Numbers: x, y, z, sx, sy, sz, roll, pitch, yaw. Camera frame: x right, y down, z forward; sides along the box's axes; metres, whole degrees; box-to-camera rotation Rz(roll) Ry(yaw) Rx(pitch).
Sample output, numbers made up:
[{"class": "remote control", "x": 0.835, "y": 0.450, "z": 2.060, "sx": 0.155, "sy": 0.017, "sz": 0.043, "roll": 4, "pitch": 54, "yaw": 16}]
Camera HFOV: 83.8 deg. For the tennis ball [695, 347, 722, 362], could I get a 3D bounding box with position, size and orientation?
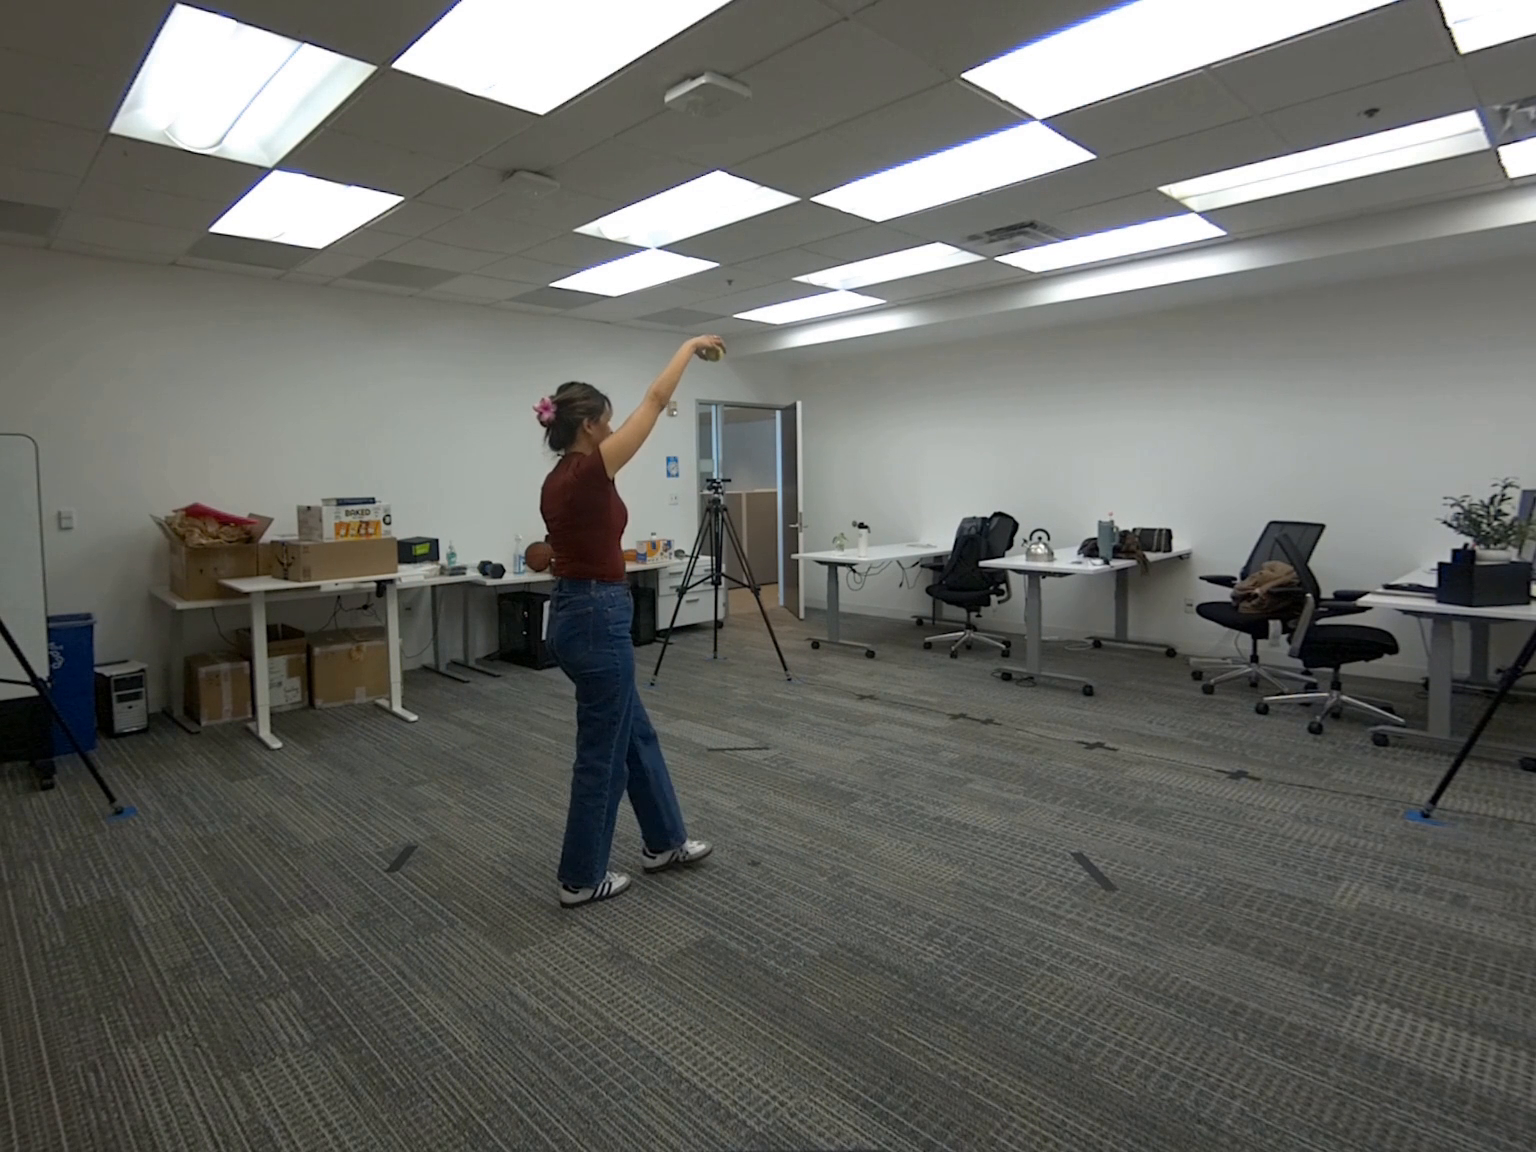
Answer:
[{"class": "tennis ball", "x": -0.223, "y": -0.796, "z": 2.946, "sx": 0.066, "sy": 0.066, "sz": 0.067, "roll": -1, "pitch": 5, "yaw": -2}]
